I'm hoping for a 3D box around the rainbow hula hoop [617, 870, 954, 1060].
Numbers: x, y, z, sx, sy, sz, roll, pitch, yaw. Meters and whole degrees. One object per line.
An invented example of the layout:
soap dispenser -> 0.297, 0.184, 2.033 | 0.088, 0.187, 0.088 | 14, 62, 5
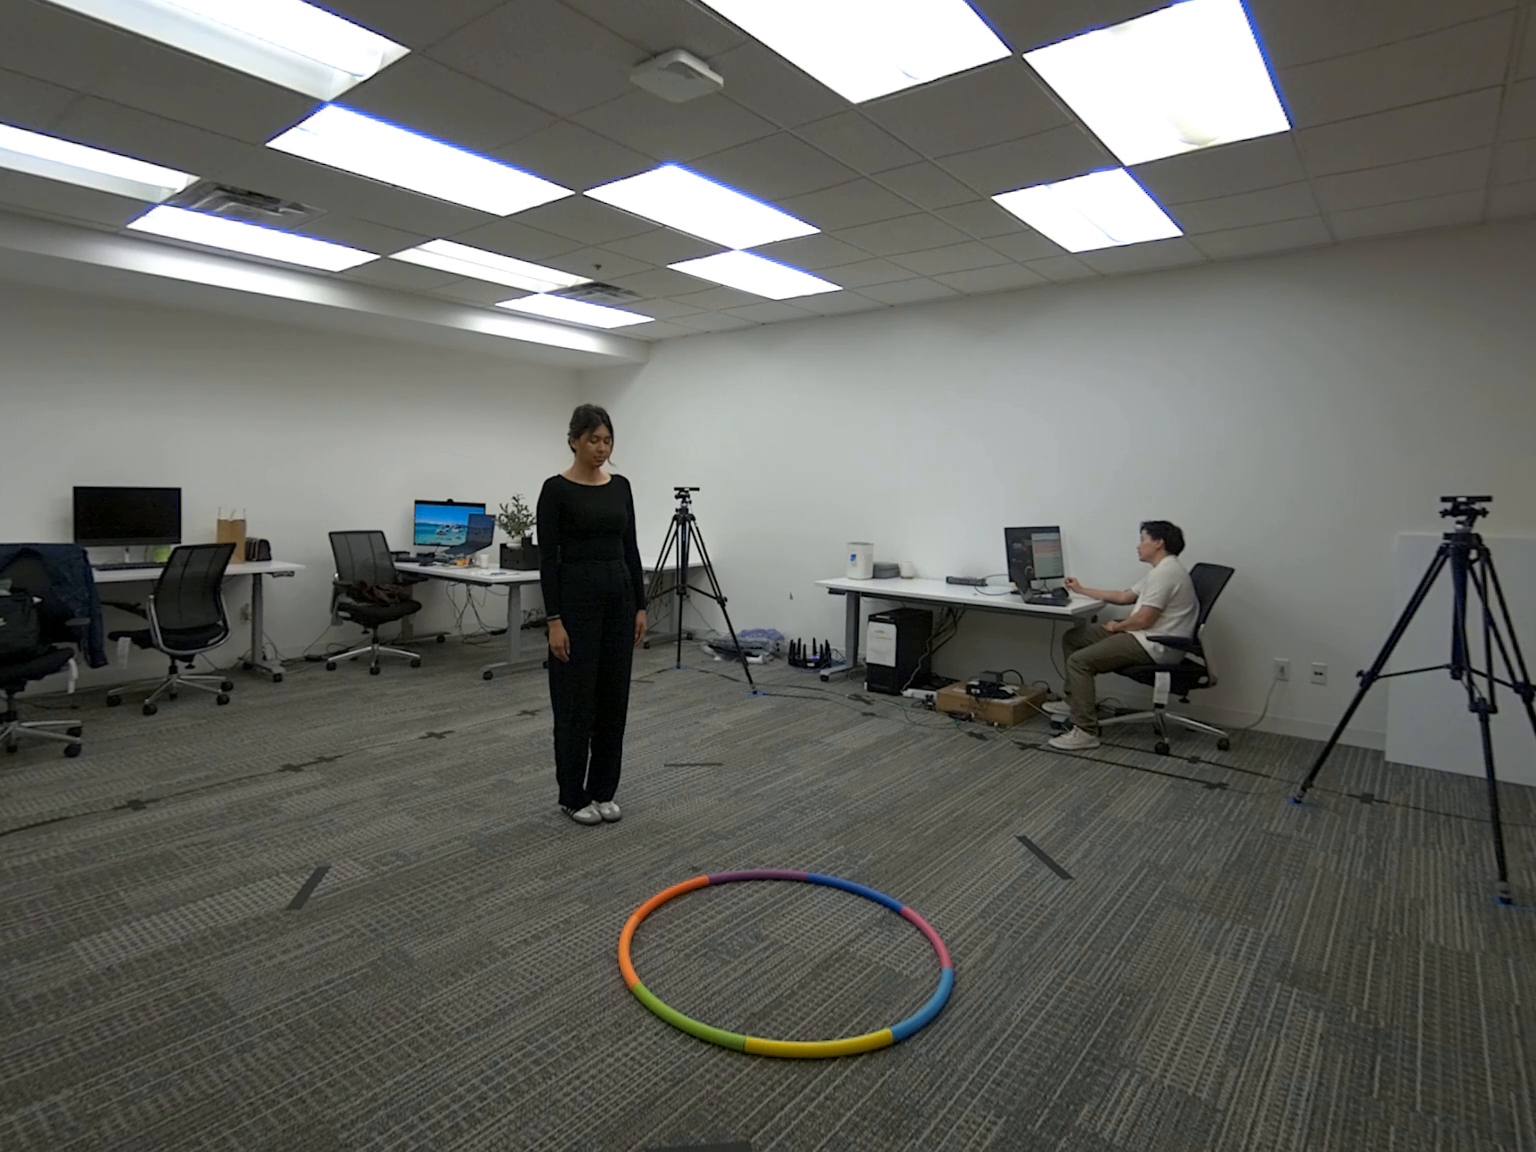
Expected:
rainbow hula hoop -> 0.039, 1.095, 2.561 | 0.978, 0.035, 0.984 | 1, 6, -2
